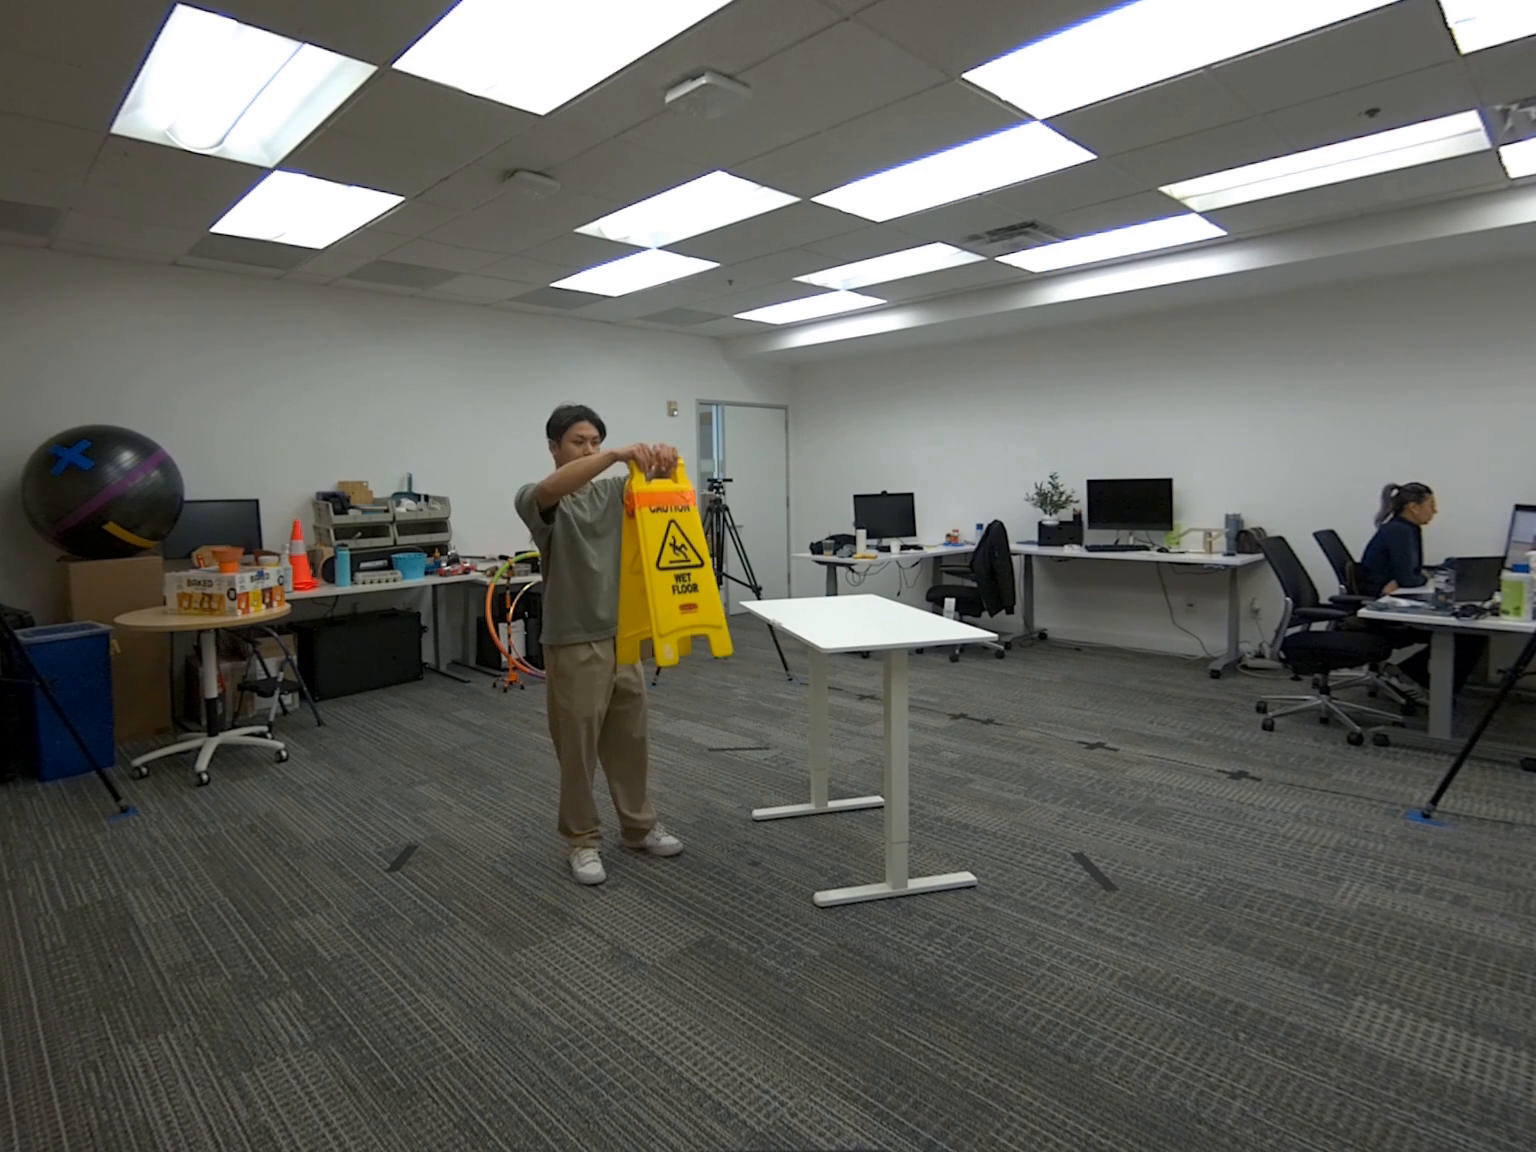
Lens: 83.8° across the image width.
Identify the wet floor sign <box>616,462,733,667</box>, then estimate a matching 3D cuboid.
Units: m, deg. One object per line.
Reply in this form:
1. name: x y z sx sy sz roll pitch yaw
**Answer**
1. wet floor sign: -0.325 -0.054 2.692 0.275 0.647 0.297 -4 -1 -37
